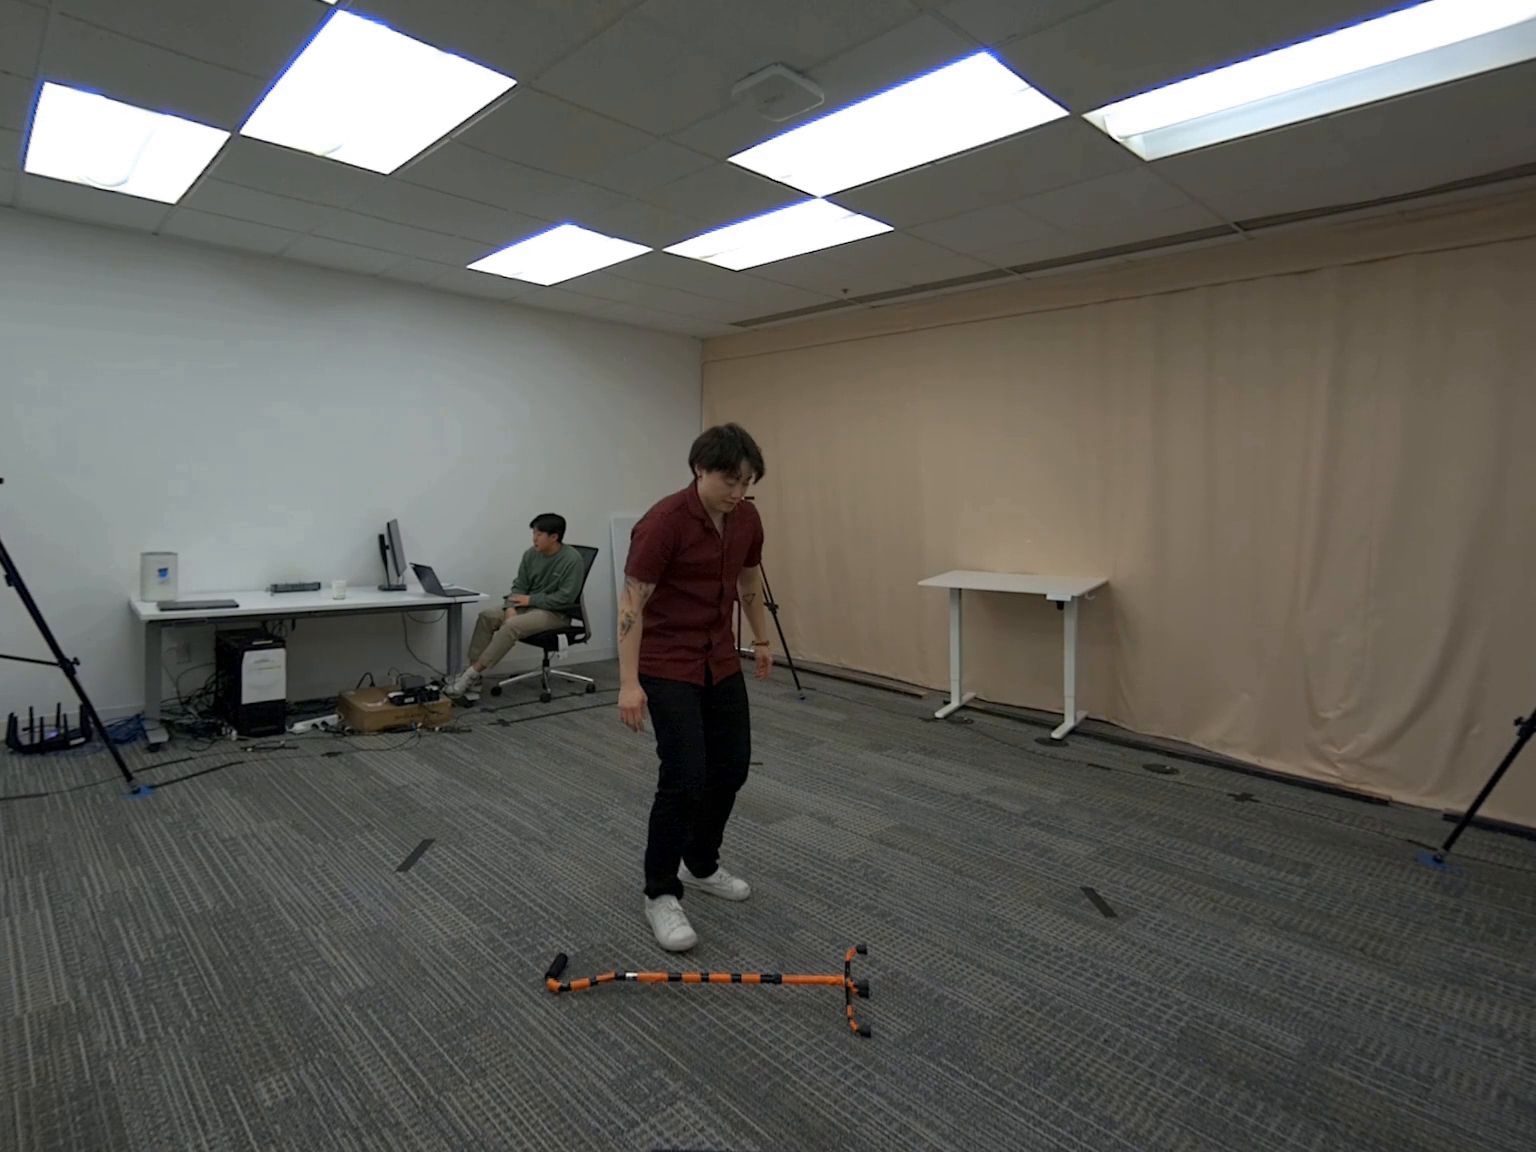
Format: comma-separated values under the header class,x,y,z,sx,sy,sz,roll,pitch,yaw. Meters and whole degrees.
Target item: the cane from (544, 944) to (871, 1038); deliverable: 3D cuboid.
class,x,y,z,sx,sy,sz,roll,pitch,yaw
cane,-0.184,1.130,2.337,0.913,0.151,0.206,-3,4,8
